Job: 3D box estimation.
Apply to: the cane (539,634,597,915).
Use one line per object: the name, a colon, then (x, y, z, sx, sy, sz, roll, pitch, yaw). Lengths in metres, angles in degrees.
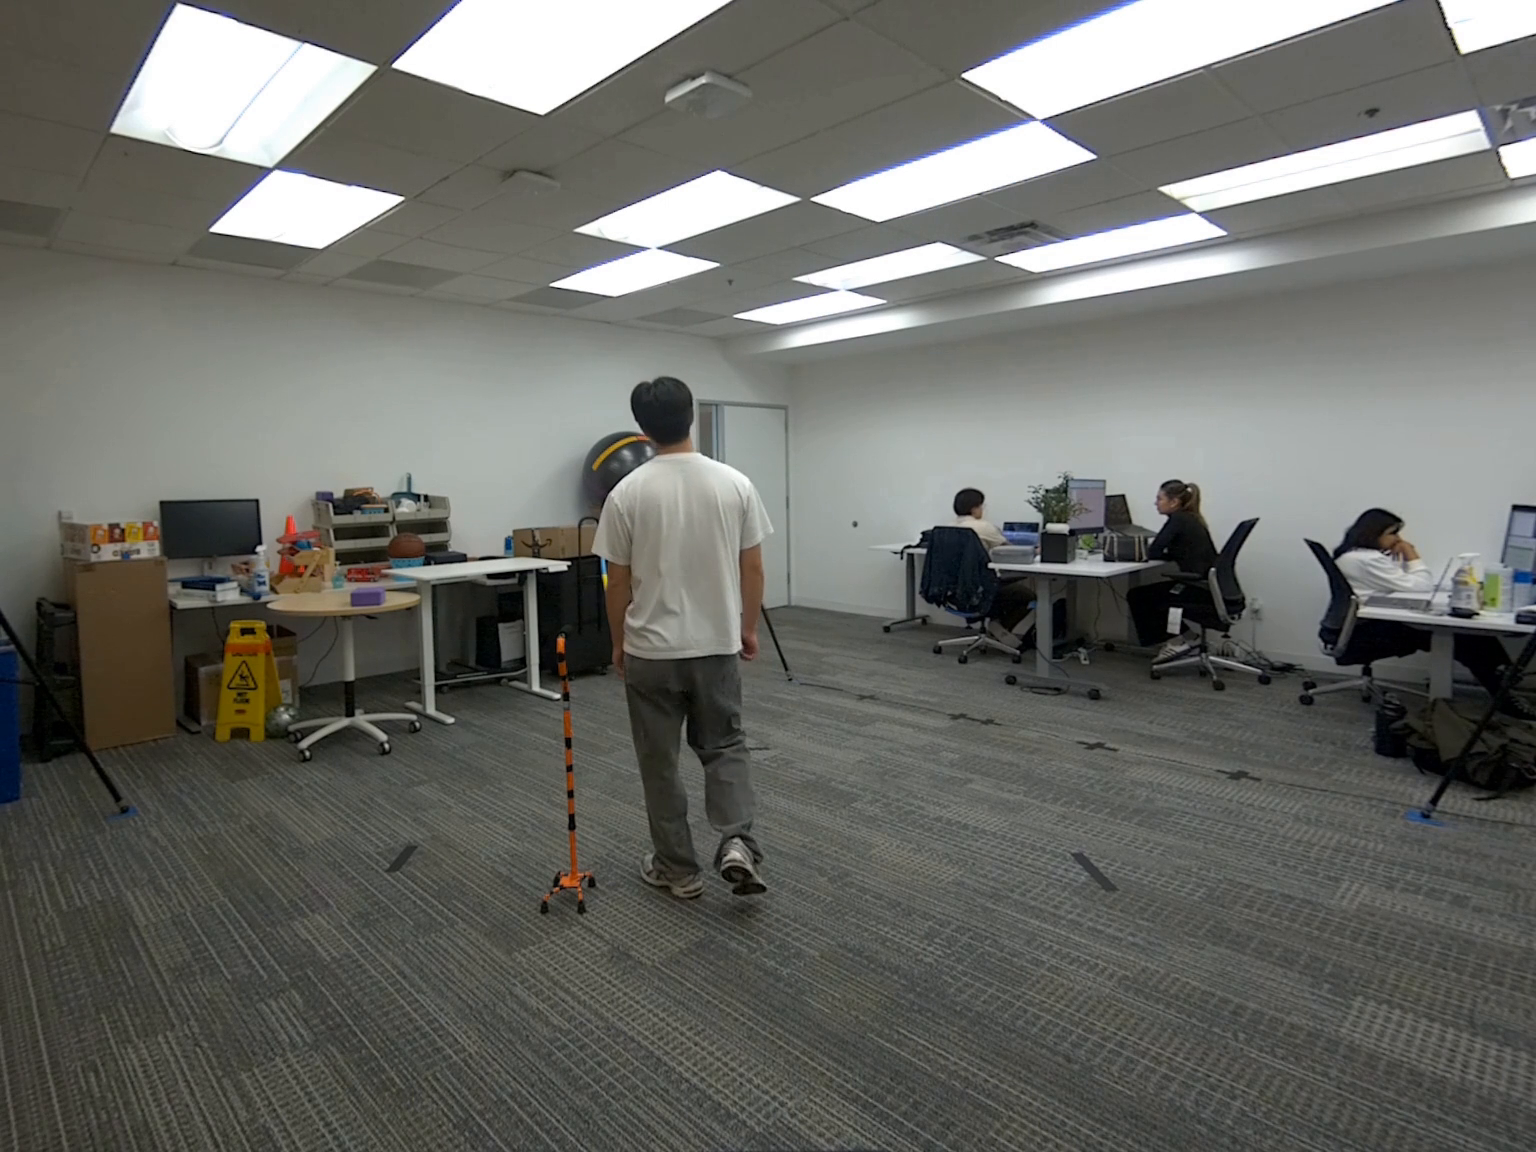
cane: (-0.673, 0.635, 2.845, 0.152, 0.905, 0.207, -1, 3, 0)
